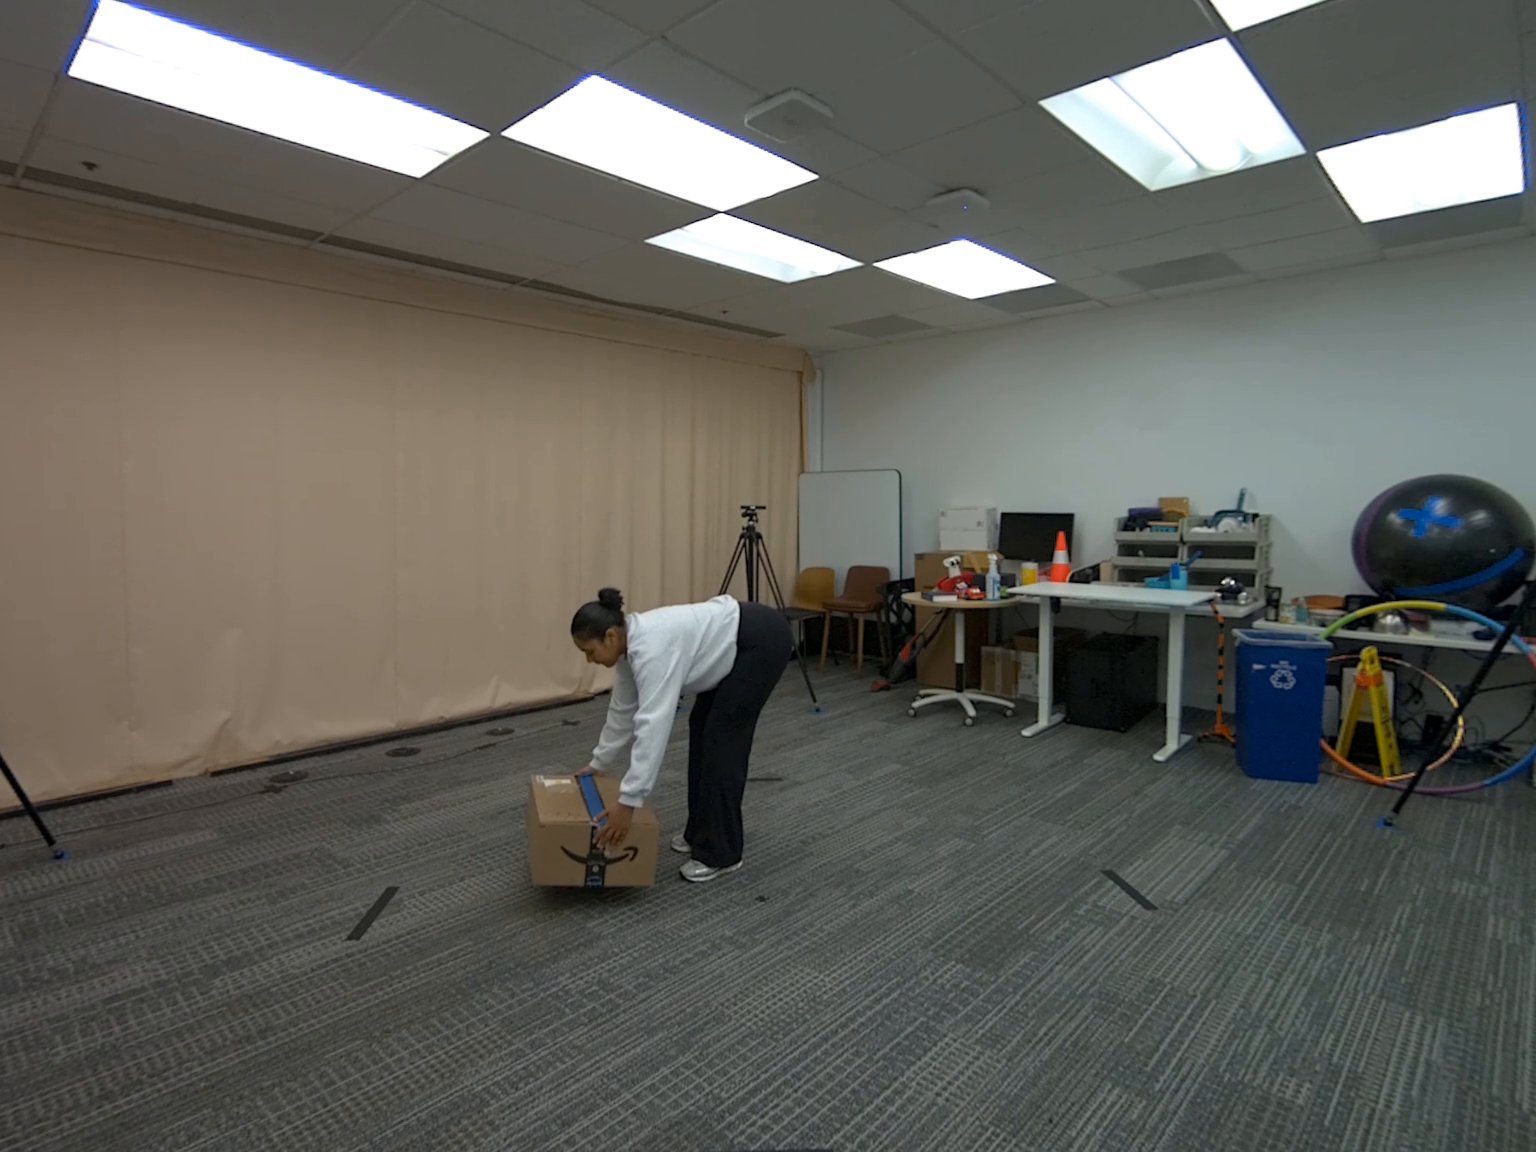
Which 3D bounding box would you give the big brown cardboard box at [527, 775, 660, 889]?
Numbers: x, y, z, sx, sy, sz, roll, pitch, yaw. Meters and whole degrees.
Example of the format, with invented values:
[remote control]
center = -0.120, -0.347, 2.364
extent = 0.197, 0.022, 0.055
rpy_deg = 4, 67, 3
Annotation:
[big brown cardboard box]
center = -0.663, 0.924, 3.150
extent = 0.410, 0.233, 0.600
rpy_deg = 5, 3, -18
